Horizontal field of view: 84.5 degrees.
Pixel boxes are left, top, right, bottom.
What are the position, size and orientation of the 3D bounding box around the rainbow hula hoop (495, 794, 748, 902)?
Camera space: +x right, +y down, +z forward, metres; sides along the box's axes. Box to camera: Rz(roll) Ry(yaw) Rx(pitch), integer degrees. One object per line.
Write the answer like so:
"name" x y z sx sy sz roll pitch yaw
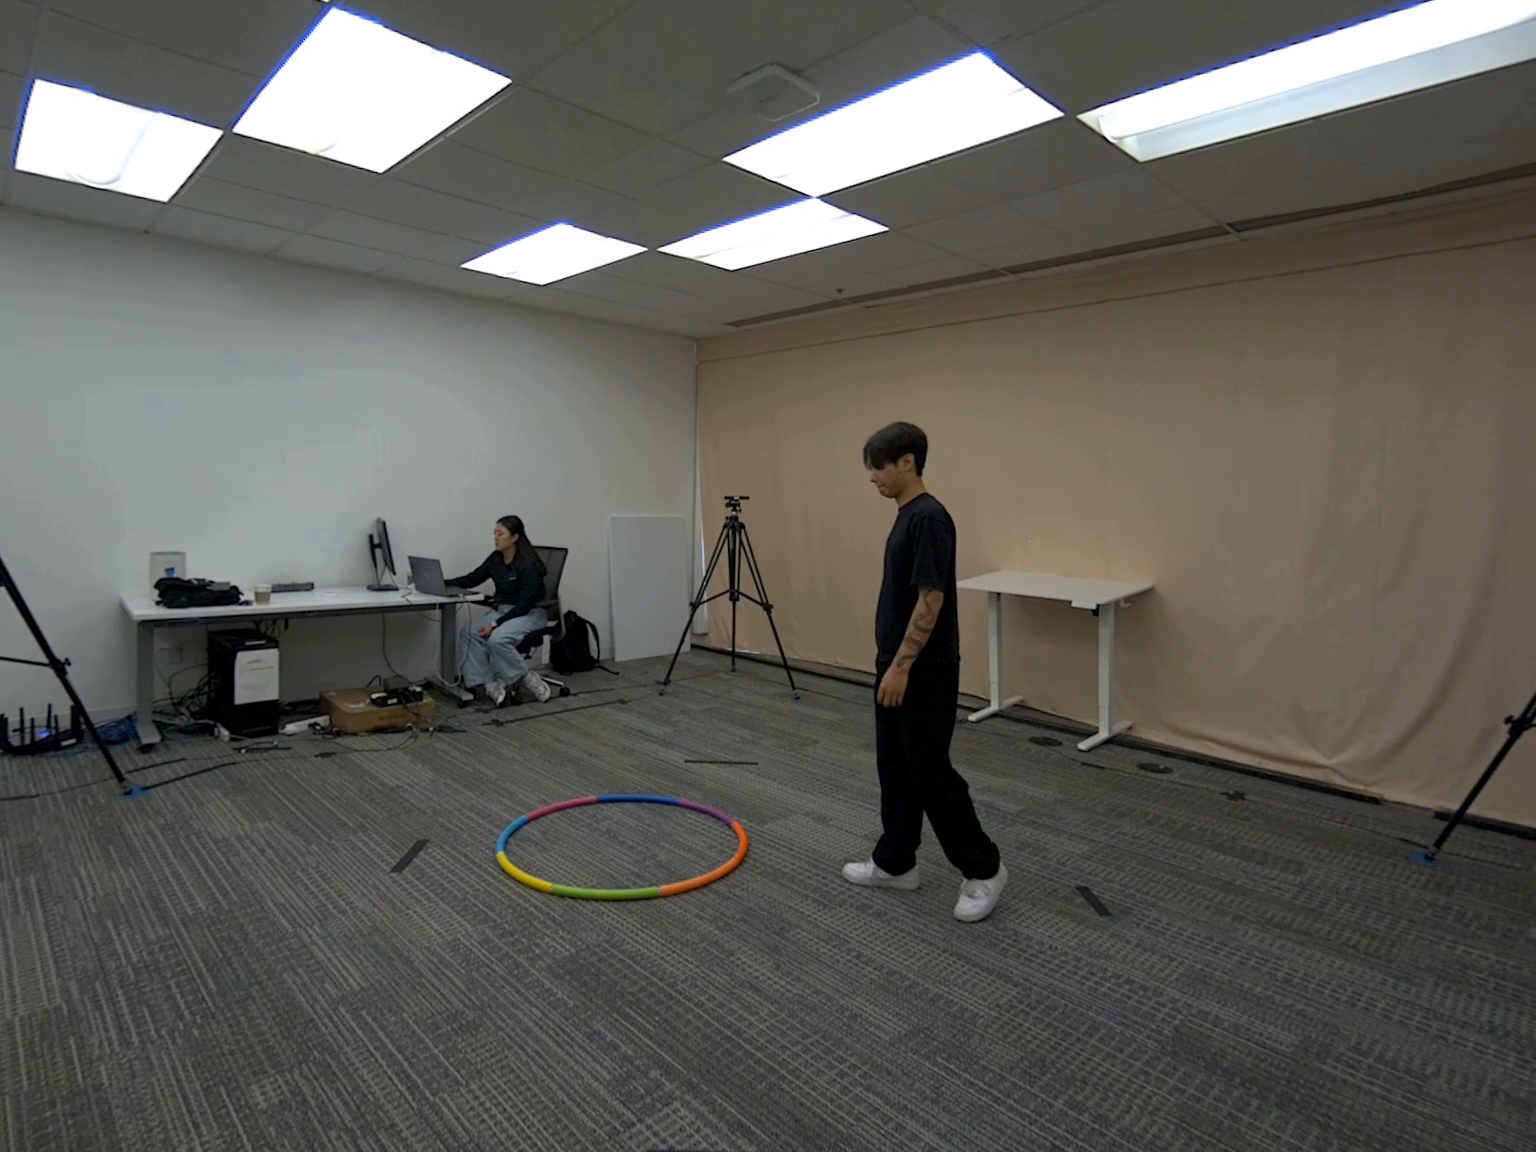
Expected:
"rainbow hula hoop" -0.576 1.040 3.360 0.978 0.035 0.982 2 5 -1
